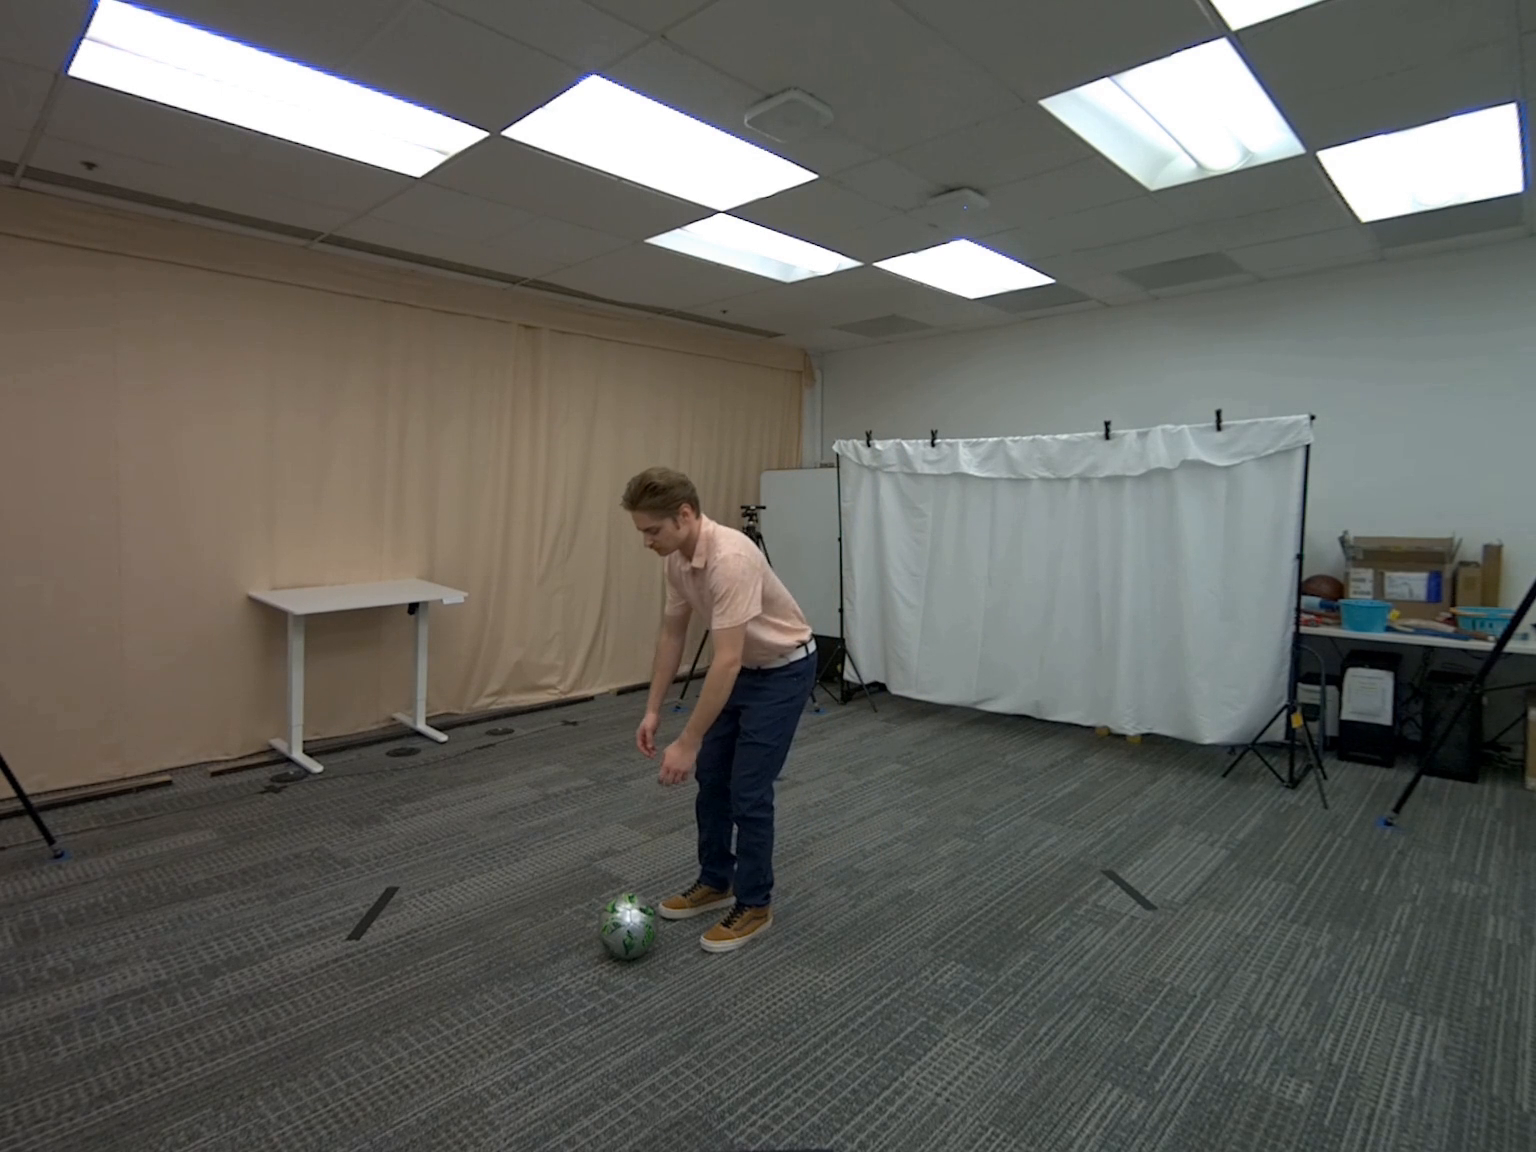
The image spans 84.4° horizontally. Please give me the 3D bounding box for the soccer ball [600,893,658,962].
[{"bbox_3d":[-0.431,1.083,2.608,0.187,0.187,0.188,0,4,-2],"label":"soccer ball"}]
